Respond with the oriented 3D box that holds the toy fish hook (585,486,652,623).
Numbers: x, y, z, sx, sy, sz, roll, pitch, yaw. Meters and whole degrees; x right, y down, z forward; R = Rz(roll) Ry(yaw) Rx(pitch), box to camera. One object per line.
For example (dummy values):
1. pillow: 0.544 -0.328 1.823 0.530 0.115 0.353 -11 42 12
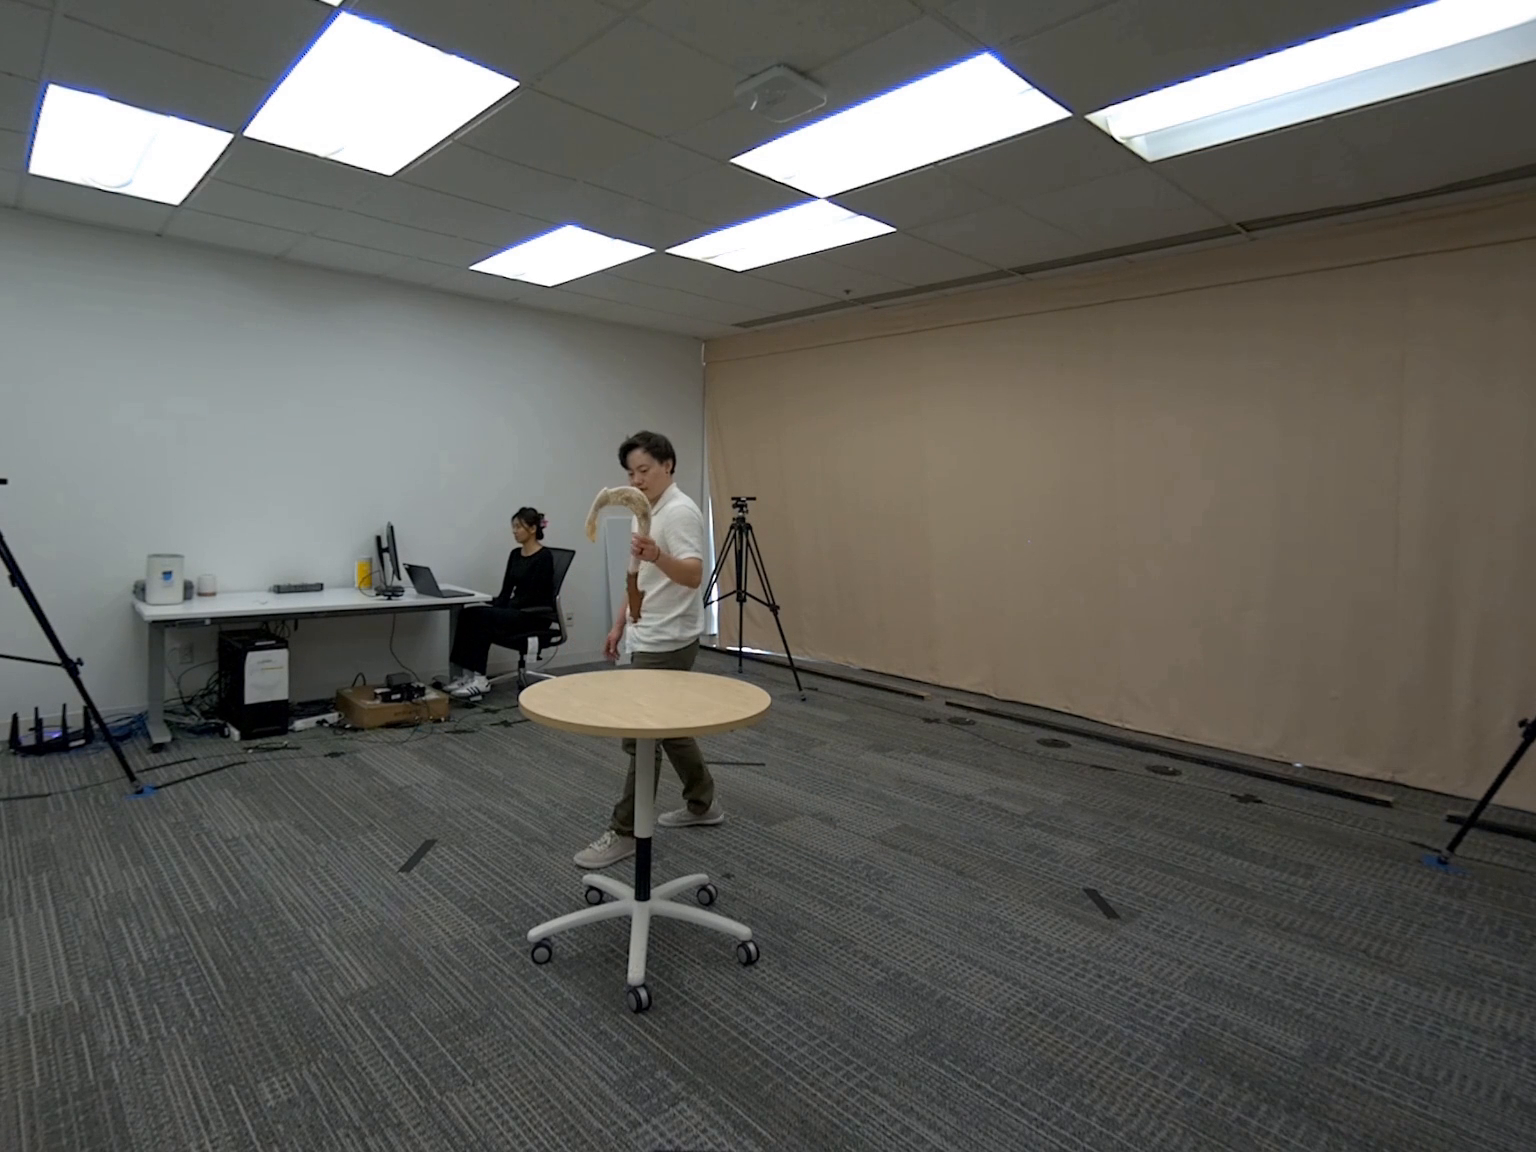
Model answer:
1. toy fish hook: -0.516 -0.041 2.891 0.222 0.499 0.049 -6 20 -14
